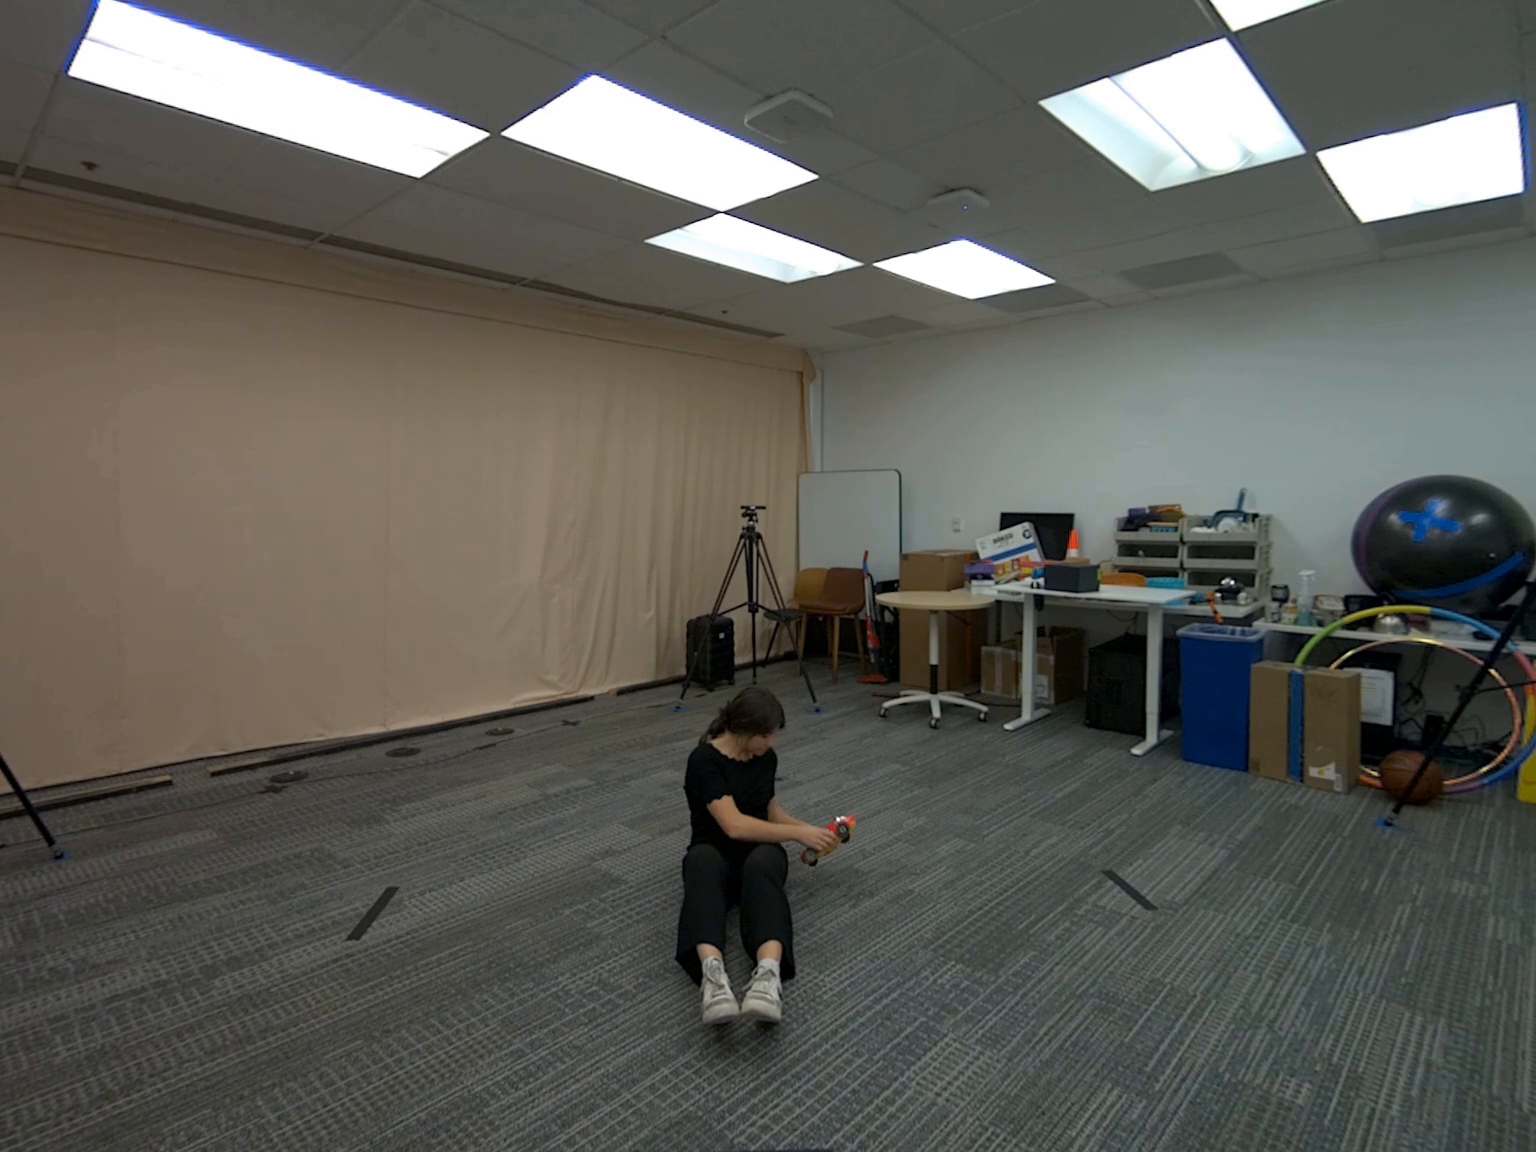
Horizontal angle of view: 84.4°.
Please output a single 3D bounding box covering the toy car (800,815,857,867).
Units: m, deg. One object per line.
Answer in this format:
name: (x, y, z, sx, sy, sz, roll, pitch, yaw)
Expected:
toy car: (0.218, 0.956, 3.046, 0.086, 0.253, 0.127, 40, -14, 26)
